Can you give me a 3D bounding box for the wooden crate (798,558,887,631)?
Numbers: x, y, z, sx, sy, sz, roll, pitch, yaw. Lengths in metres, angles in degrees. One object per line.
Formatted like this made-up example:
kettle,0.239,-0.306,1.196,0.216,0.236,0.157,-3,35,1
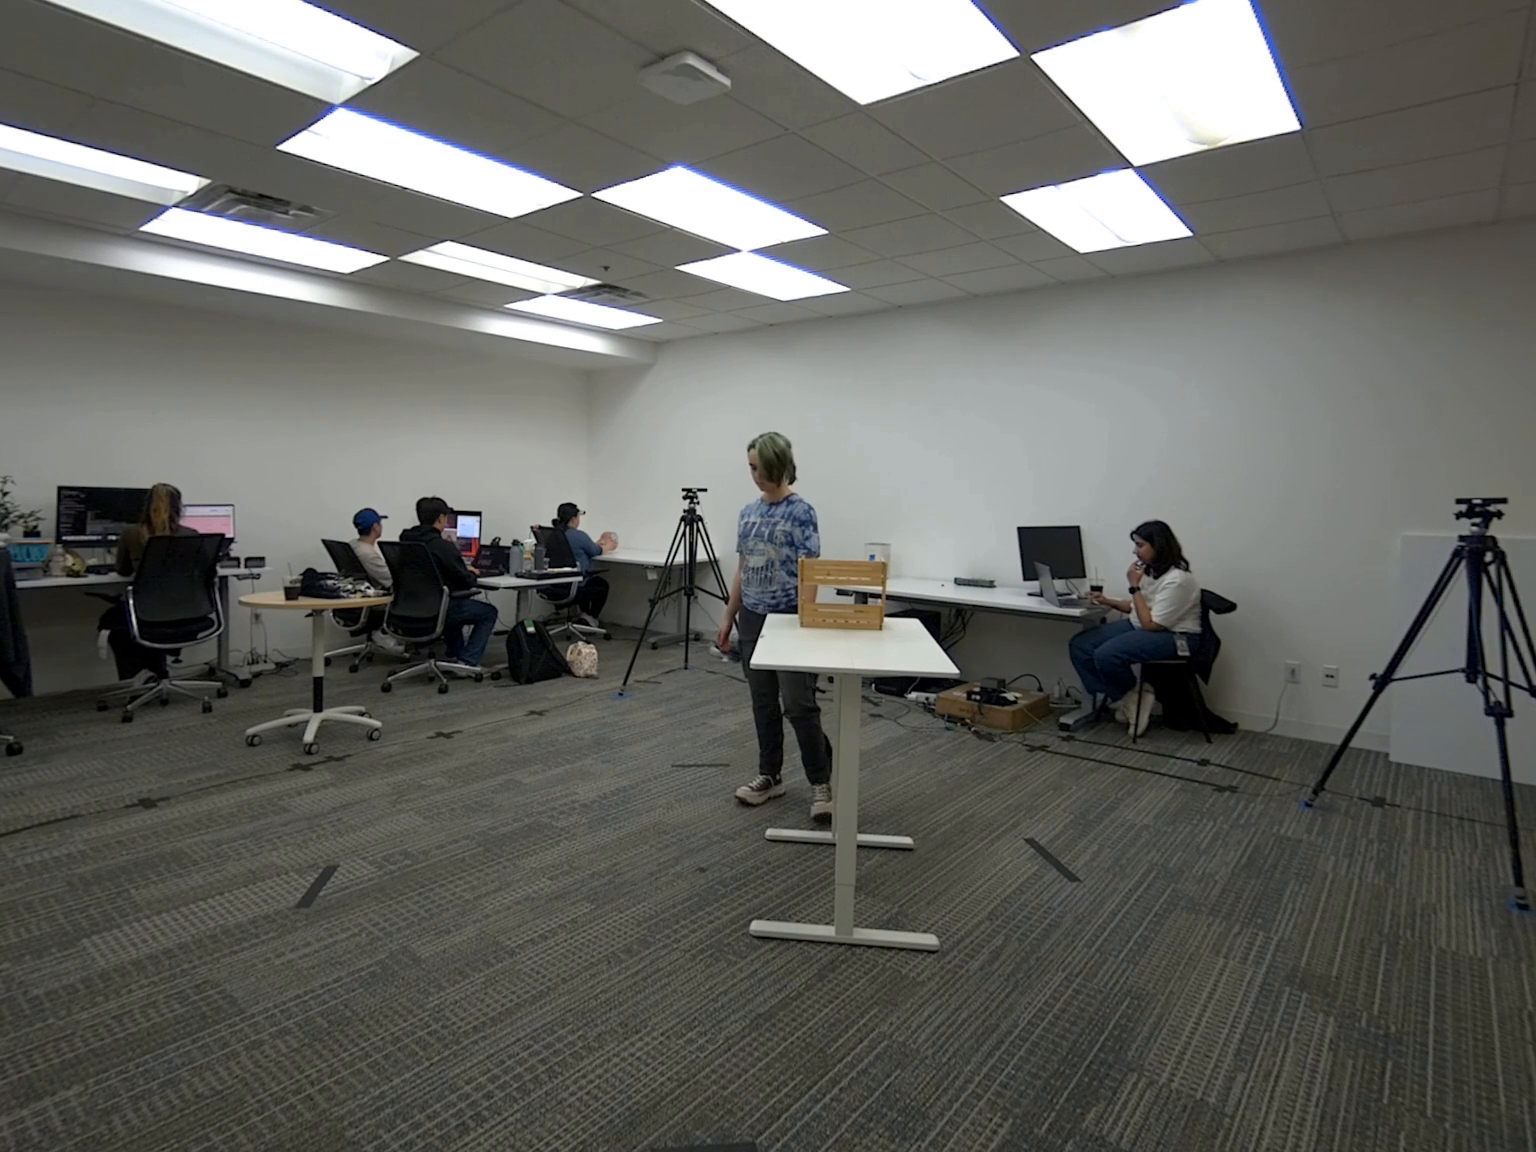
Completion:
wooden crate,0.277,0.050,3.240,0.327,0.272,0.301,2,5,6
